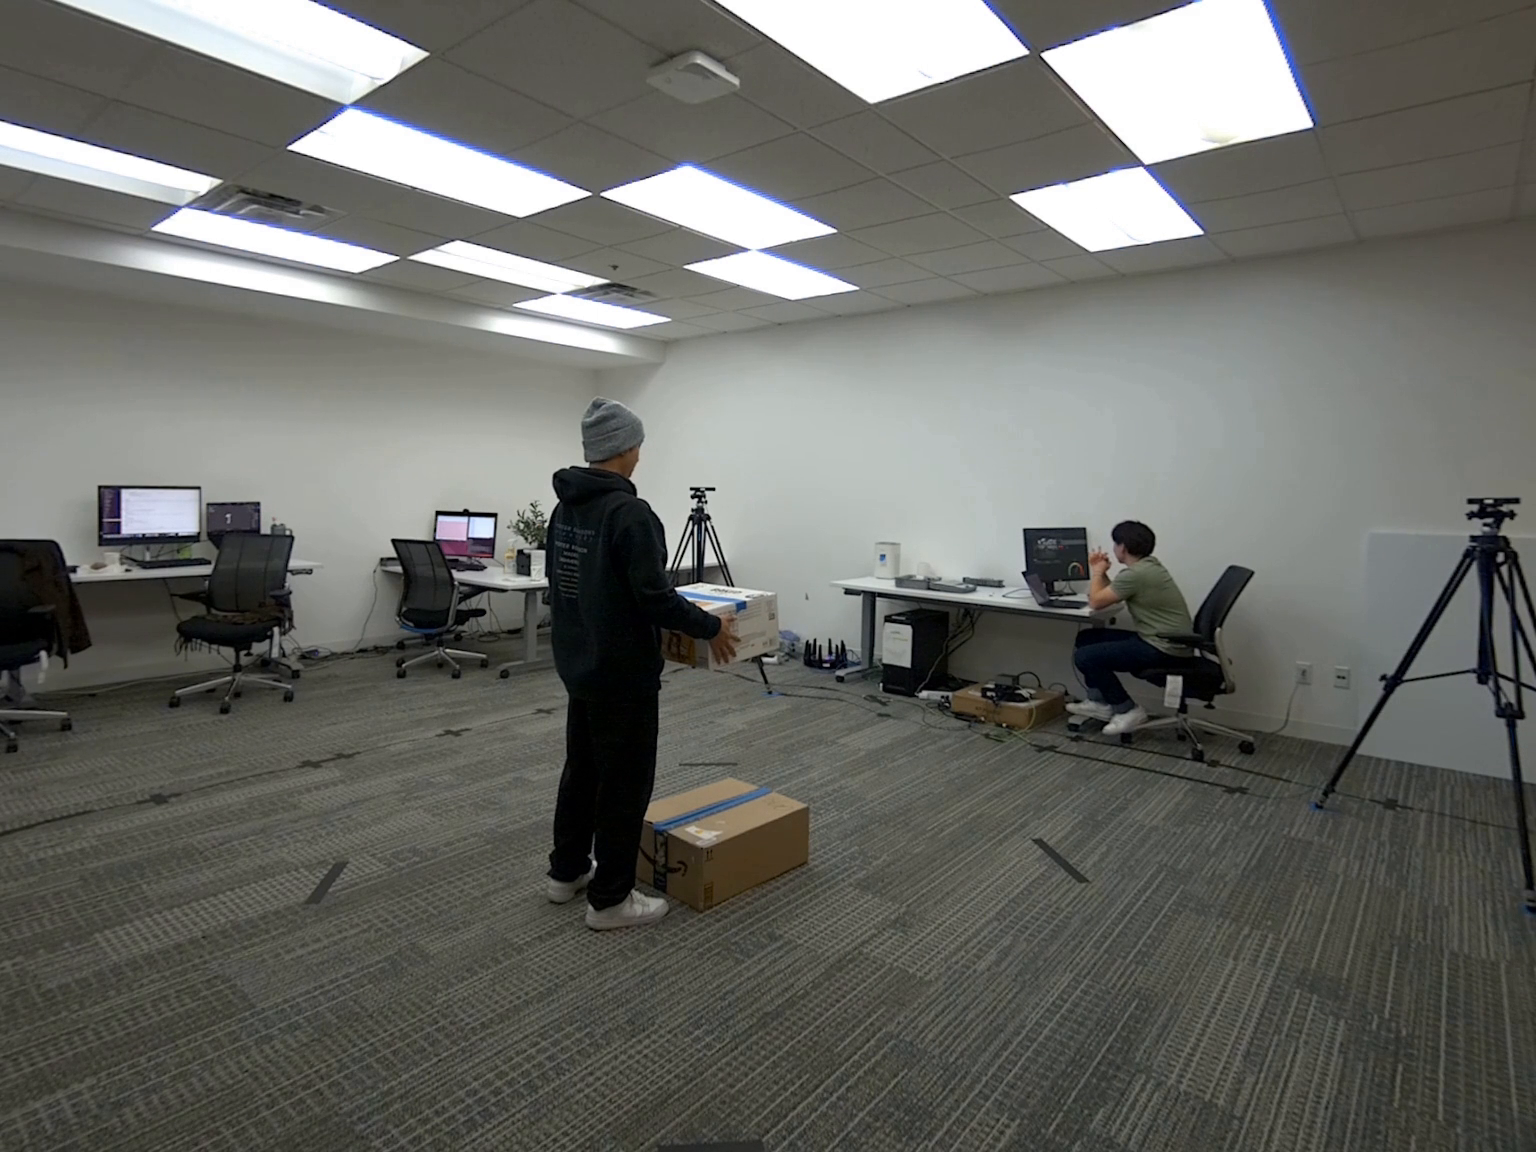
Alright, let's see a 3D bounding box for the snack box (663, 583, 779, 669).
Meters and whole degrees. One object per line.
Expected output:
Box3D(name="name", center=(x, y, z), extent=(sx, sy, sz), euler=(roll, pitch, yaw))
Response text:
Box3D(name="snack box", center=(-0.235, 0.168, 3.025), extent=(0.332, 0.204, 0.419), euler=(-13, 13, -44))
